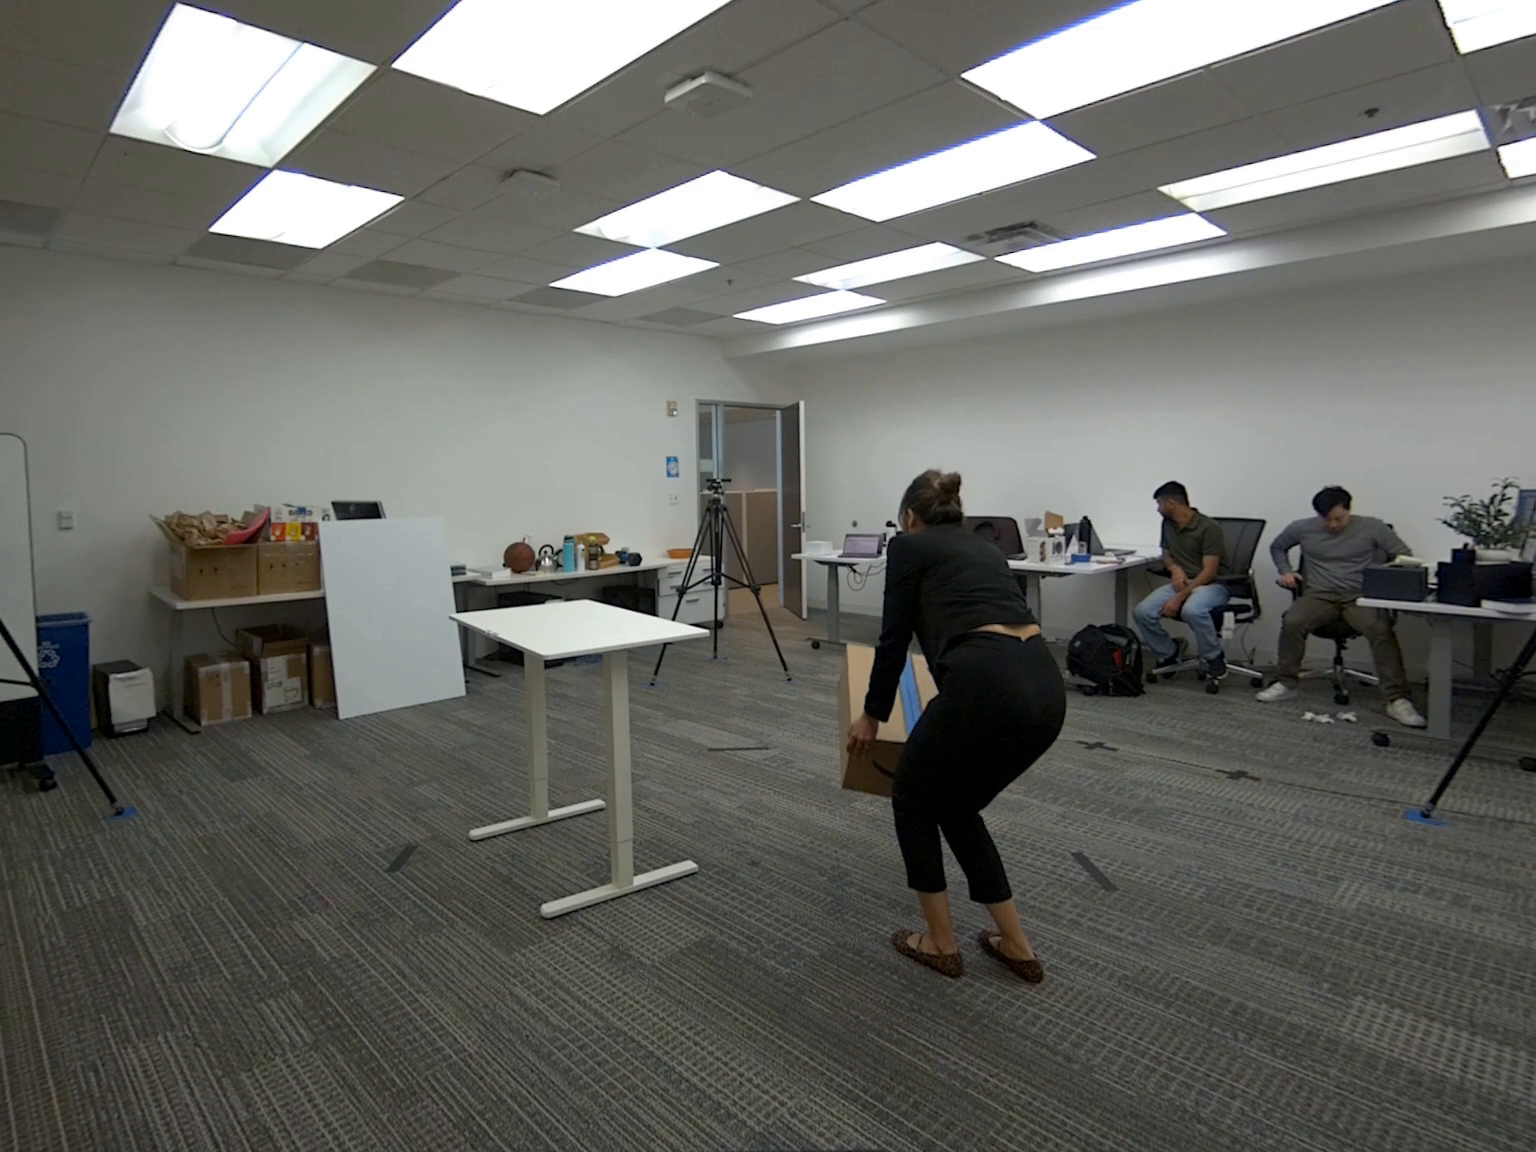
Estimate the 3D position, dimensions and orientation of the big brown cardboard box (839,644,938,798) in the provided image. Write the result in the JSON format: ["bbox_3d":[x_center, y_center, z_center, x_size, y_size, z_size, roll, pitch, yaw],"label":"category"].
[{"bbox_3d":[0.466,0.504,2.954,0.418,0.229,0.598,9,25,0],"label":"big brown cardboard box"}]
